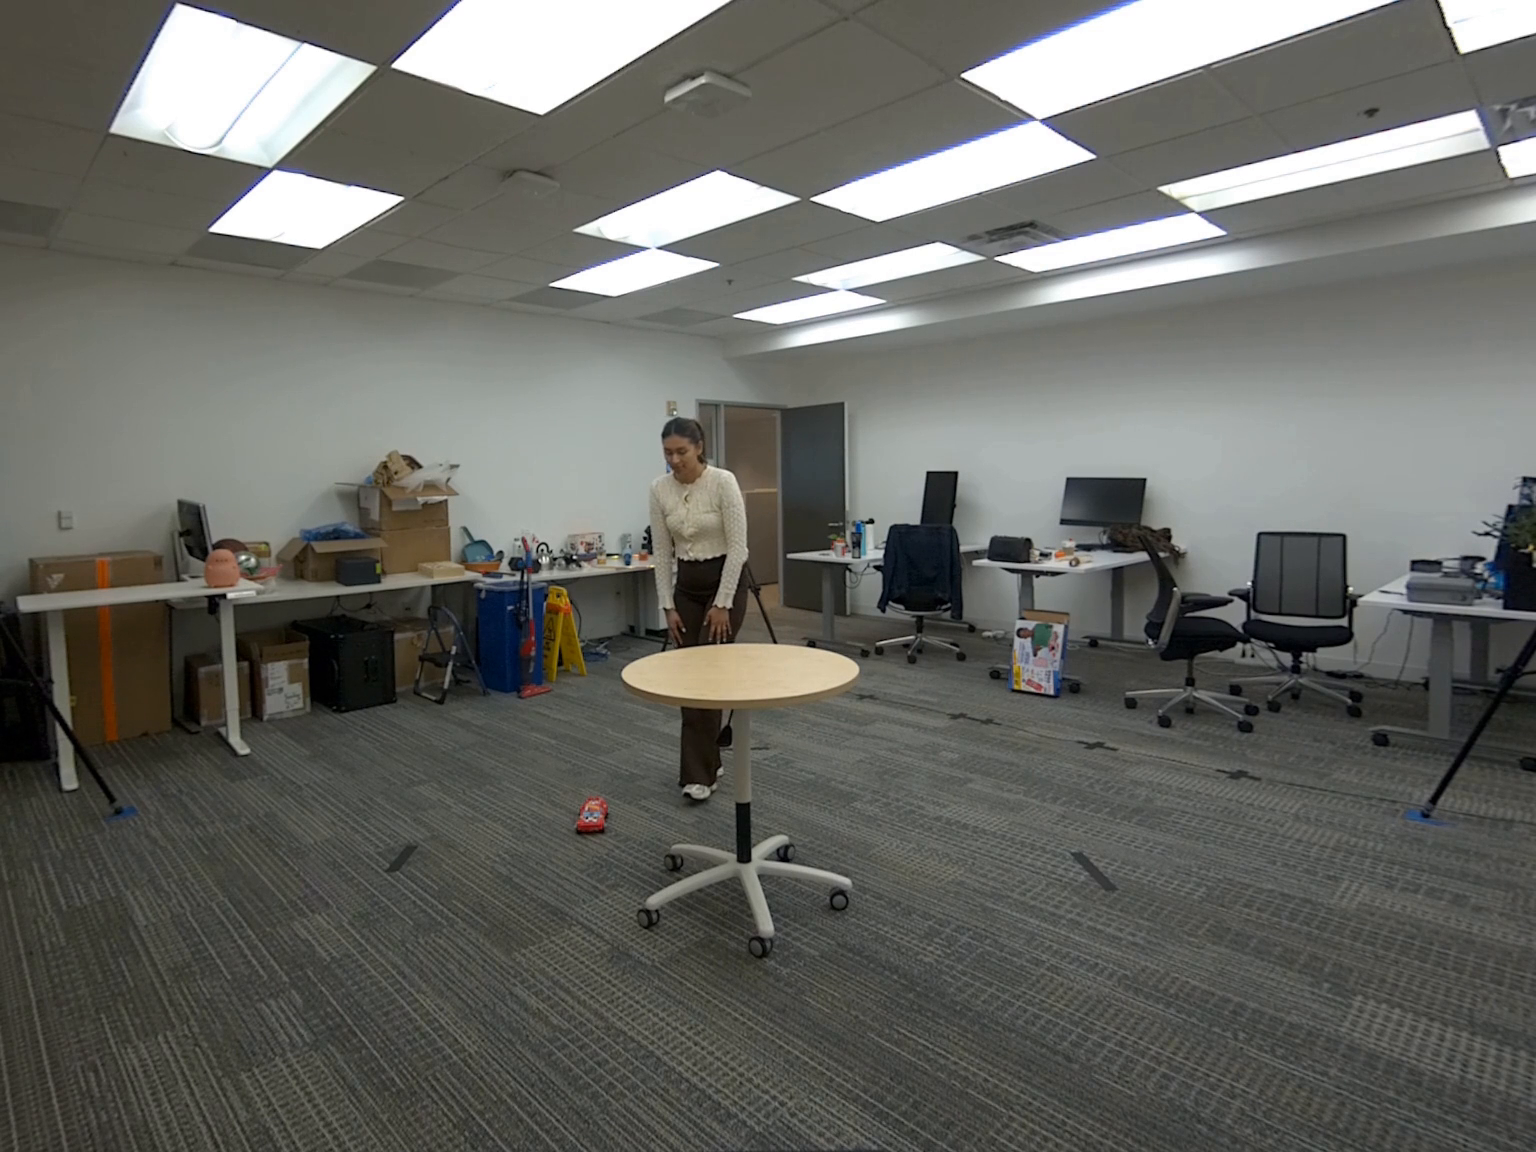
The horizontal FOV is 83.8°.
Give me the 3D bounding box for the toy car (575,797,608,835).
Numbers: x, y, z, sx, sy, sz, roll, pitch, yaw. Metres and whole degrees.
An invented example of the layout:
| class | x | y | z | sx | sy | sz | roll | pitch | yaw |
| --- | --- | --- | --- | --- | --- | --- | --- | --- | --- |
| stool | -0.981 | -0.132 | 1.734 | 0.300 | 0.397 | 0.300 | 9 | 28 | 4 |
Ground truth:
| class | x | y | z | sx | sy | sz | roll | pitch | yaw |
| --- | --- | --- | --- | --- | --- | --- | --- | --- | --- |
| toy car | -0.719 | 0.982 | 3.502 | 0.130 | 0.082 | 0.259 | -1 | 17 | -6 |
